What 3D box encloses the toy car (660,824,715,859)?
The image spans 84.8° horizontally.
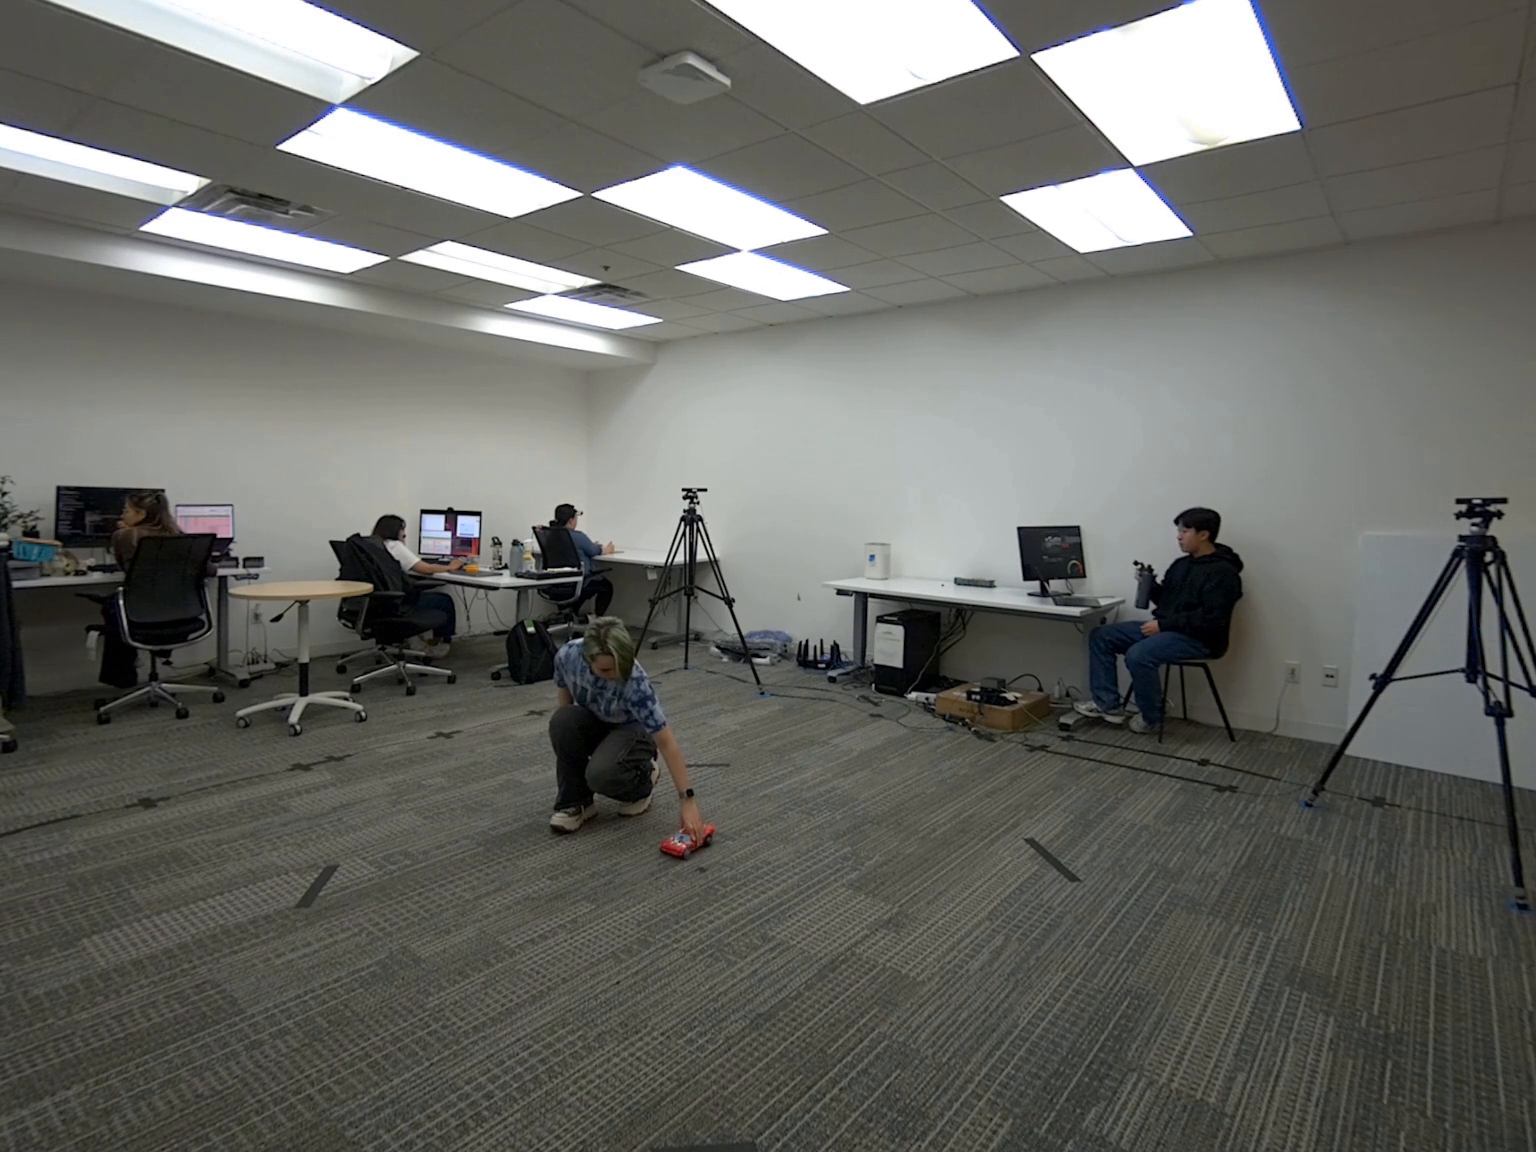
[{"bbox_3d":[-0.317,1.021,3.296,0.134,0.082,0.250,3,16,33],"label":"toy car"}]
